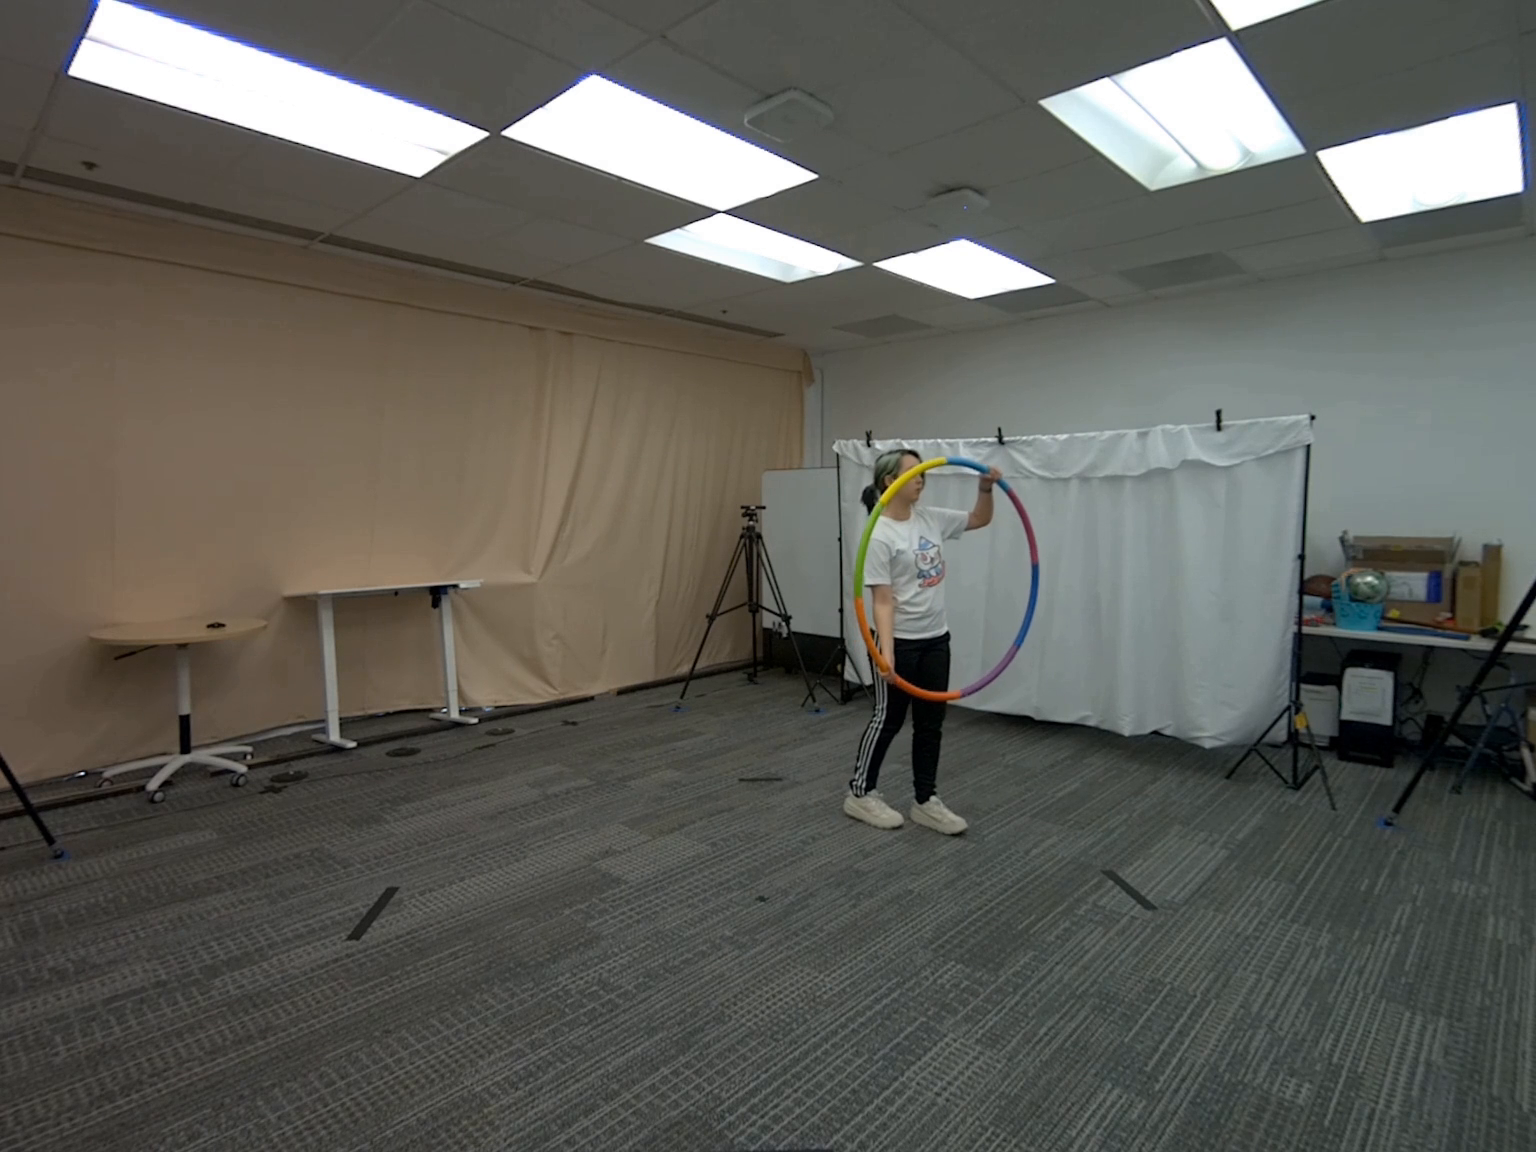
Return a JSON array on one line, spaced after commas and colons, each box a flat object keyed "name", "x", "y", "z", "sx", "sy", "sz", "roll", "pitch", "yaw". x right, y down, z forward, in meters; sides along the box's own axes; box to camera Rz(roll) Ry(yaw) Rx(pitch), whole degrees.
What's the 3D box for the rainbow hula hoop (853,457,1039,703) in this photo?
[{"name": "rainbow hula hoop", "x": 0.752, "y": 0.016, "z": 3.432, "sx": 0.954, "sy": 0.976, "sz": 0.036, "roll": -2, "pitch": 4, "yaw": -27}]
